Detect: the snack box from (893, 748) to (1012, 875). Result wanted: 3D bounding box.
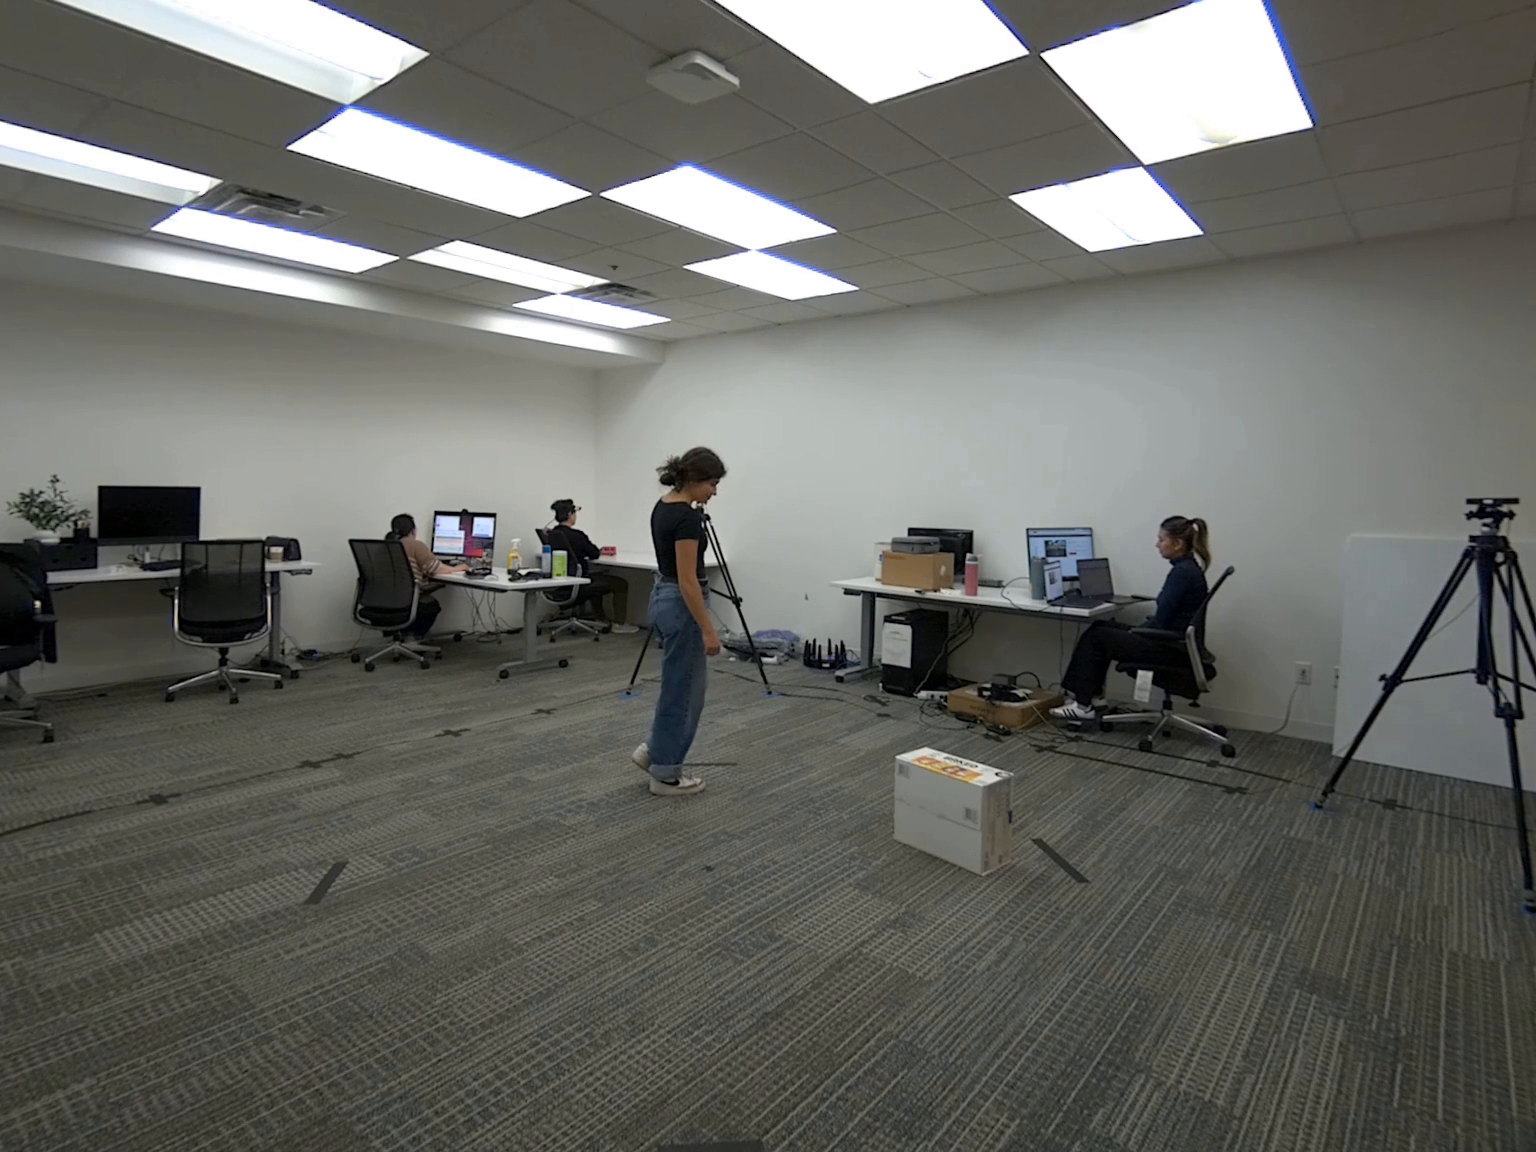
[{"bbox_3d":[0.710,0.898,3.305,0.199,0.339,0.419,-4,7,-42],"label":"snack box"}]
